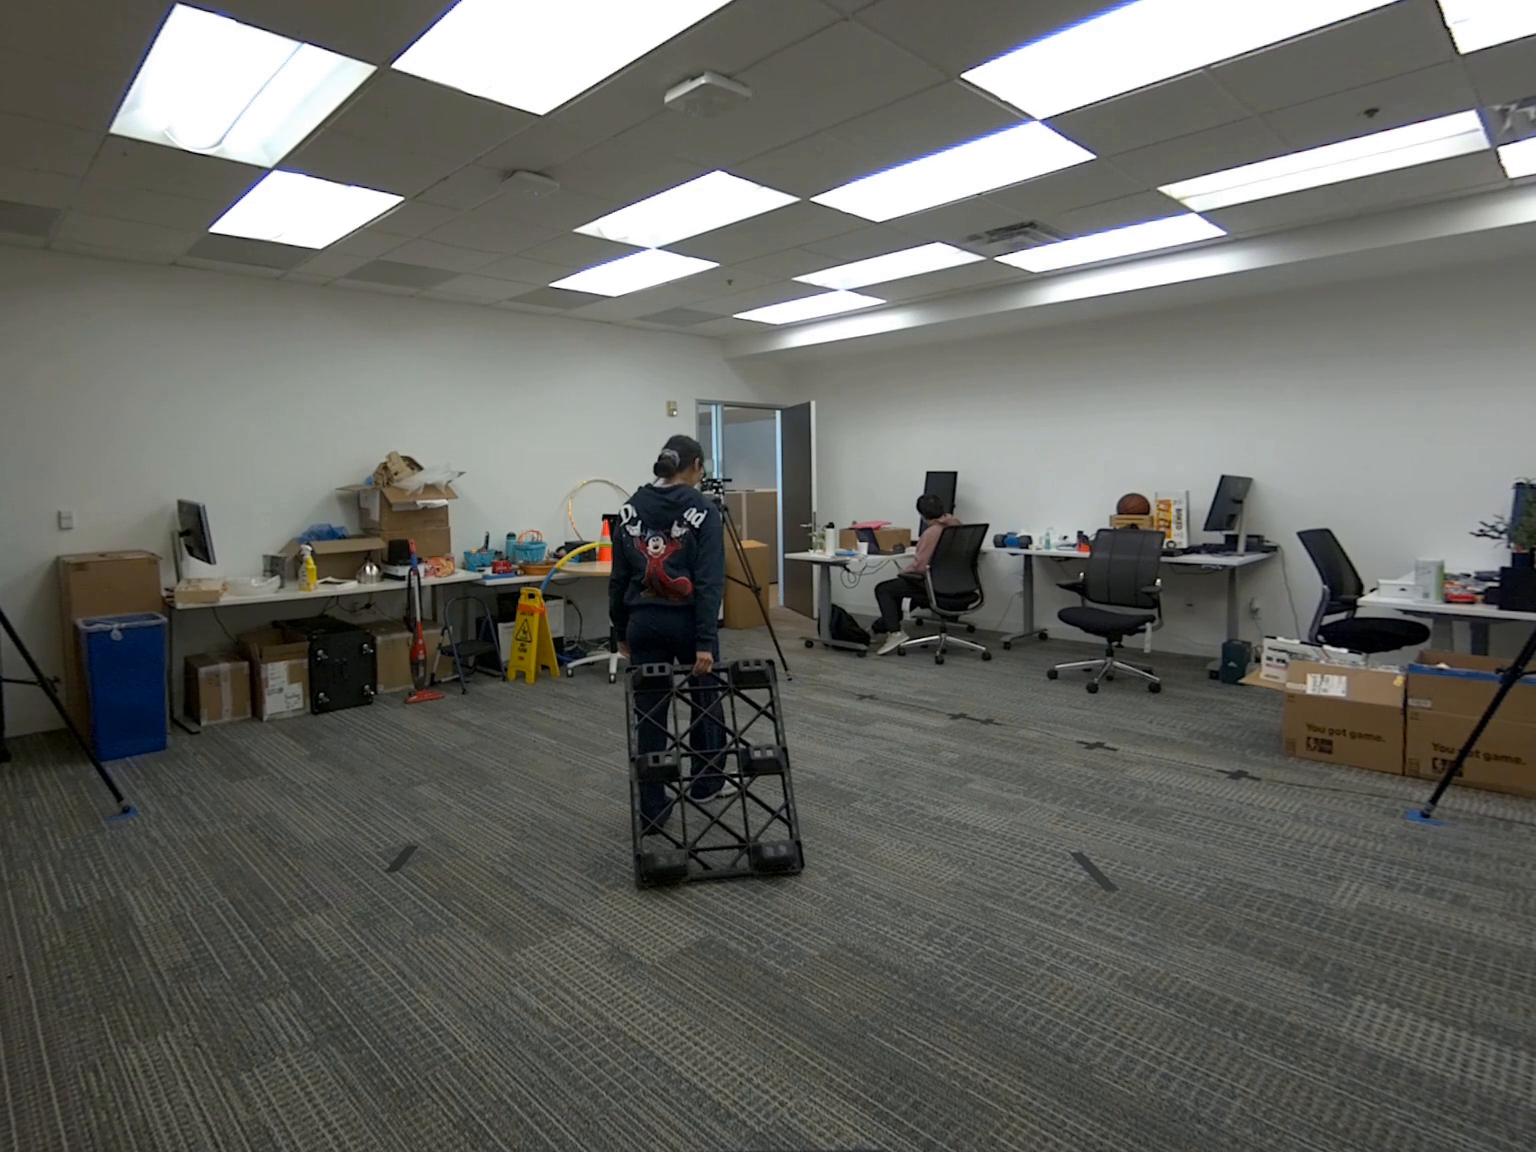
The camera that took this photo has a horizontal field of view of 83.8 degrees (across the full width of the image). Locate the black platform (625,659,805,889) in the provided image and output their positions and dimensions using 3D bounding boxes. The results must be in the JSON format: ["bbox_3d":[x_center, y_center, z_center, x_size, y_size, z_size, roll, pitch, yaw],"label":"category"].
[{"bbox_3d":[-0.200,0.682,3.132,0.601,0.827,0.140,-4,-30,-7],"label":"black platform"}]
